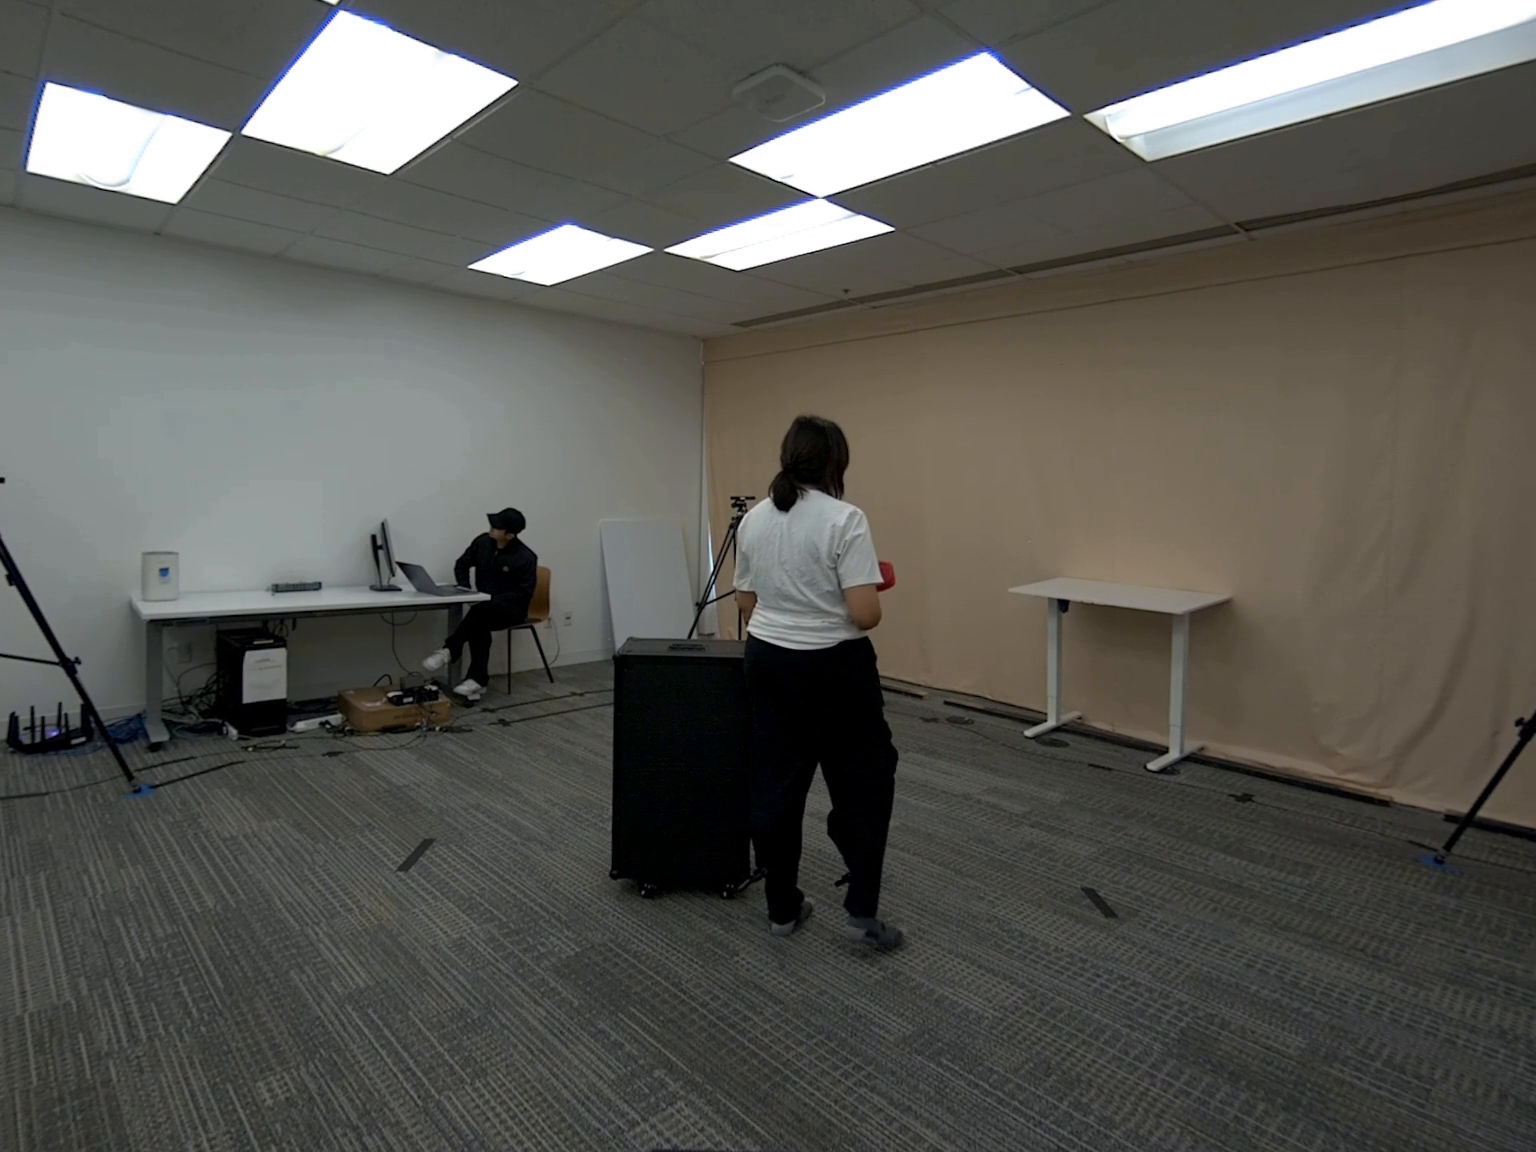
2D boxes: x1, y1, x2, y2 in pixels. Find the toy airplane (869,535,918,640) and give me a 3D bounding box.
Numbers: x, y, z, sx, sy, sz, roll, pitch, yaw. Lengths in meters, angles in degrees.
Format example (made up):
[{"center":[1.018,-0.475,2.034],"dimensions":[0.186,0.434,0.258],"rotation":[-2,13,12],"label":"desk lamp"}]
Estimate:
[{"center":[0.325,0.053,2.872],"dimensions":[0.251,0.267,0.152],"rotation":[-29,-33,-4],"label":"toy airplane"}]
